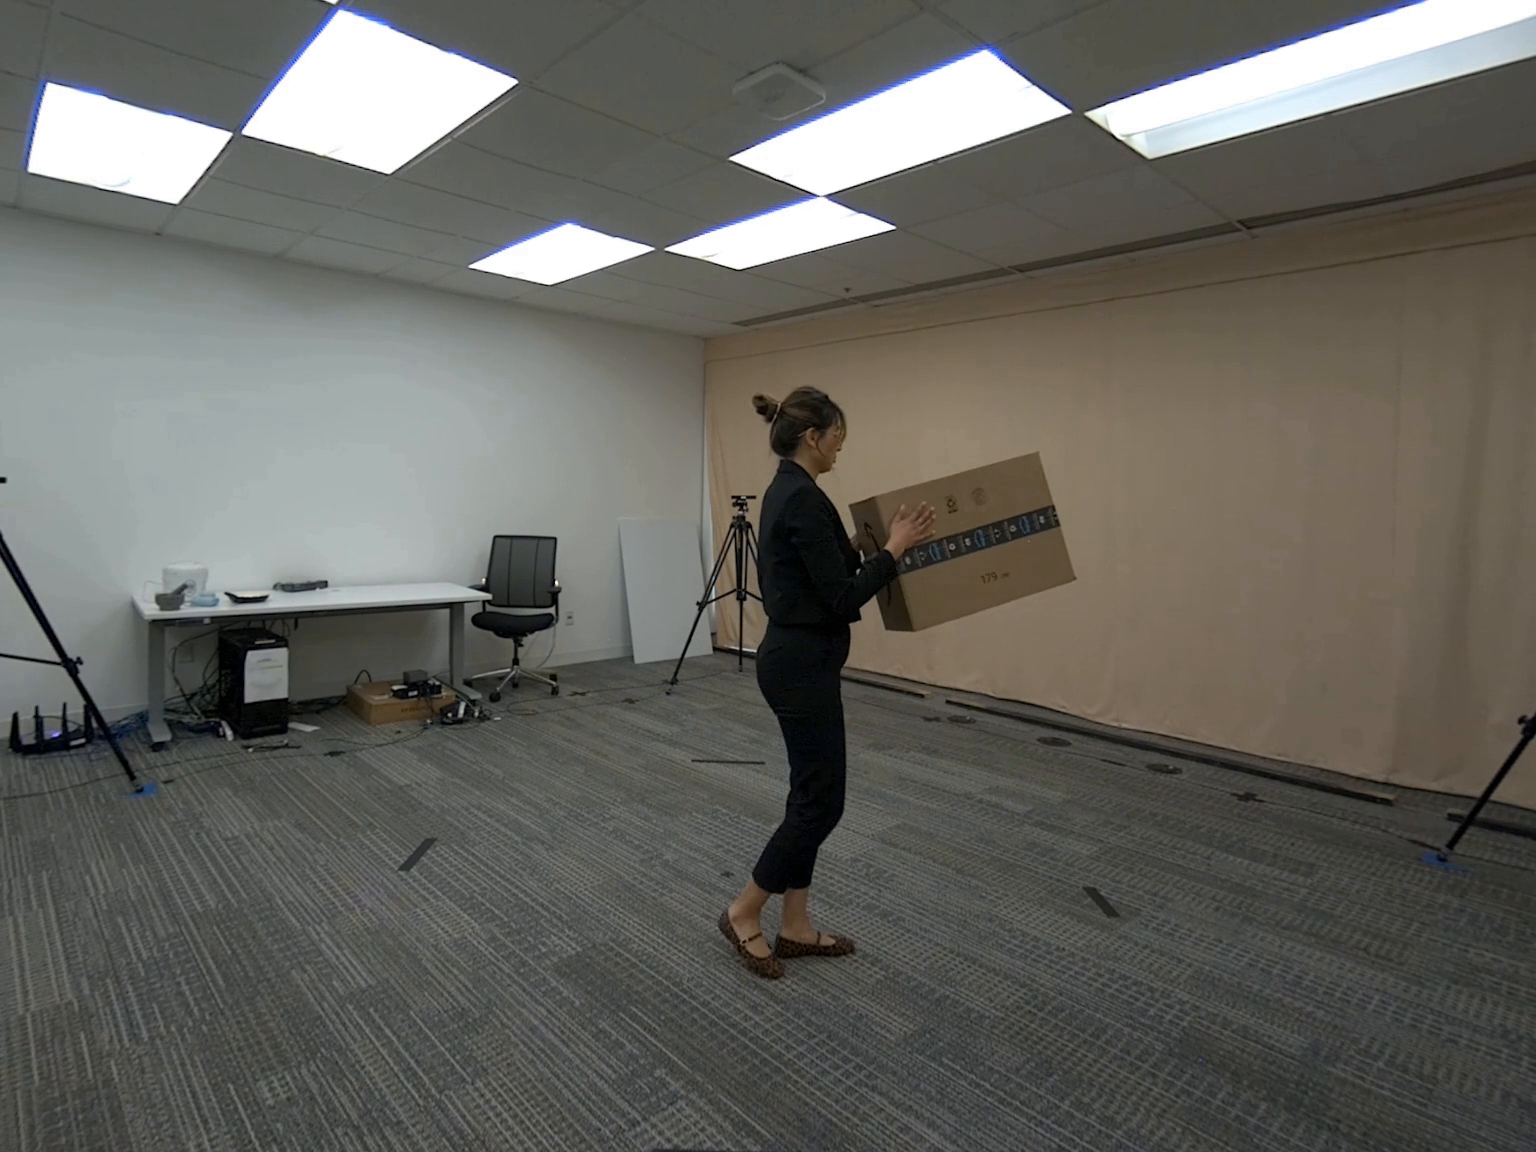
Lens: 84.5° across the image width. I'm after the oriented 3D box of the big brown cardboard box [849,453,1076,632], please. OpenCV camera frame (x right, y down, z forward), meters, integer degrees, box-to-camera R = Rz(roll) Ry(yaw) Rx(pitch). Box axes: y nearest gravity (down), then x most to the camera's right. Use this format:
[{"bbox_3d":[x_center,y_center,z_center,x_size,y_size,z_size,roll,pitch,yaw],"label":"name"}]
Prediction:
[{"bbox_3d":[0.590,-0.106,2.611,0.584,0.418,0.235,-15,-1,-14],"label":"big brown cardboard box"}]
